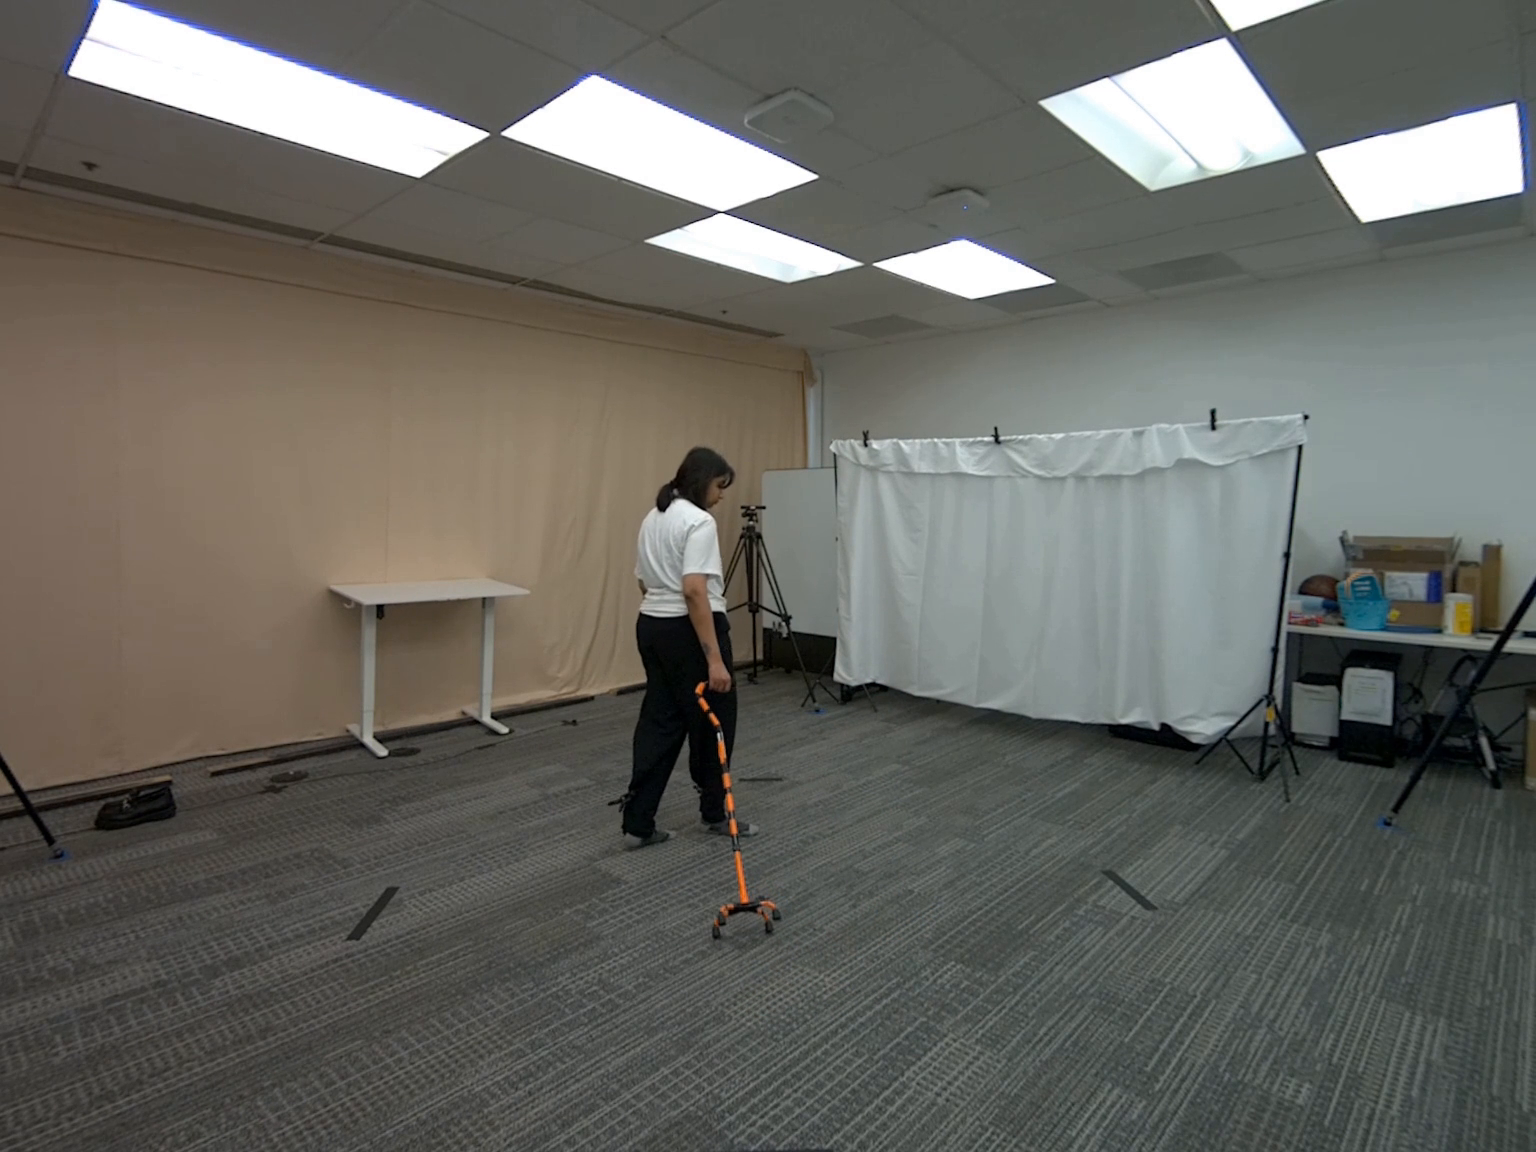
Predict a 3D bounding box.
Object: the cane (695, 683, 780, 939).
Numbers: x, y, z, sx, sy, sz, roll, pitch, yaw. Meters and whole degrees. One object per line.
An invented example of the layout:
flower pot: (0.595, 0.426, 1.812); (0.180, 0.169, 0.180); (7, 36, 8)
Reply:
cane: (-0.135, 0.762, 2.959); (0.204, 0.929, 0.150); (0, -40, -13)
